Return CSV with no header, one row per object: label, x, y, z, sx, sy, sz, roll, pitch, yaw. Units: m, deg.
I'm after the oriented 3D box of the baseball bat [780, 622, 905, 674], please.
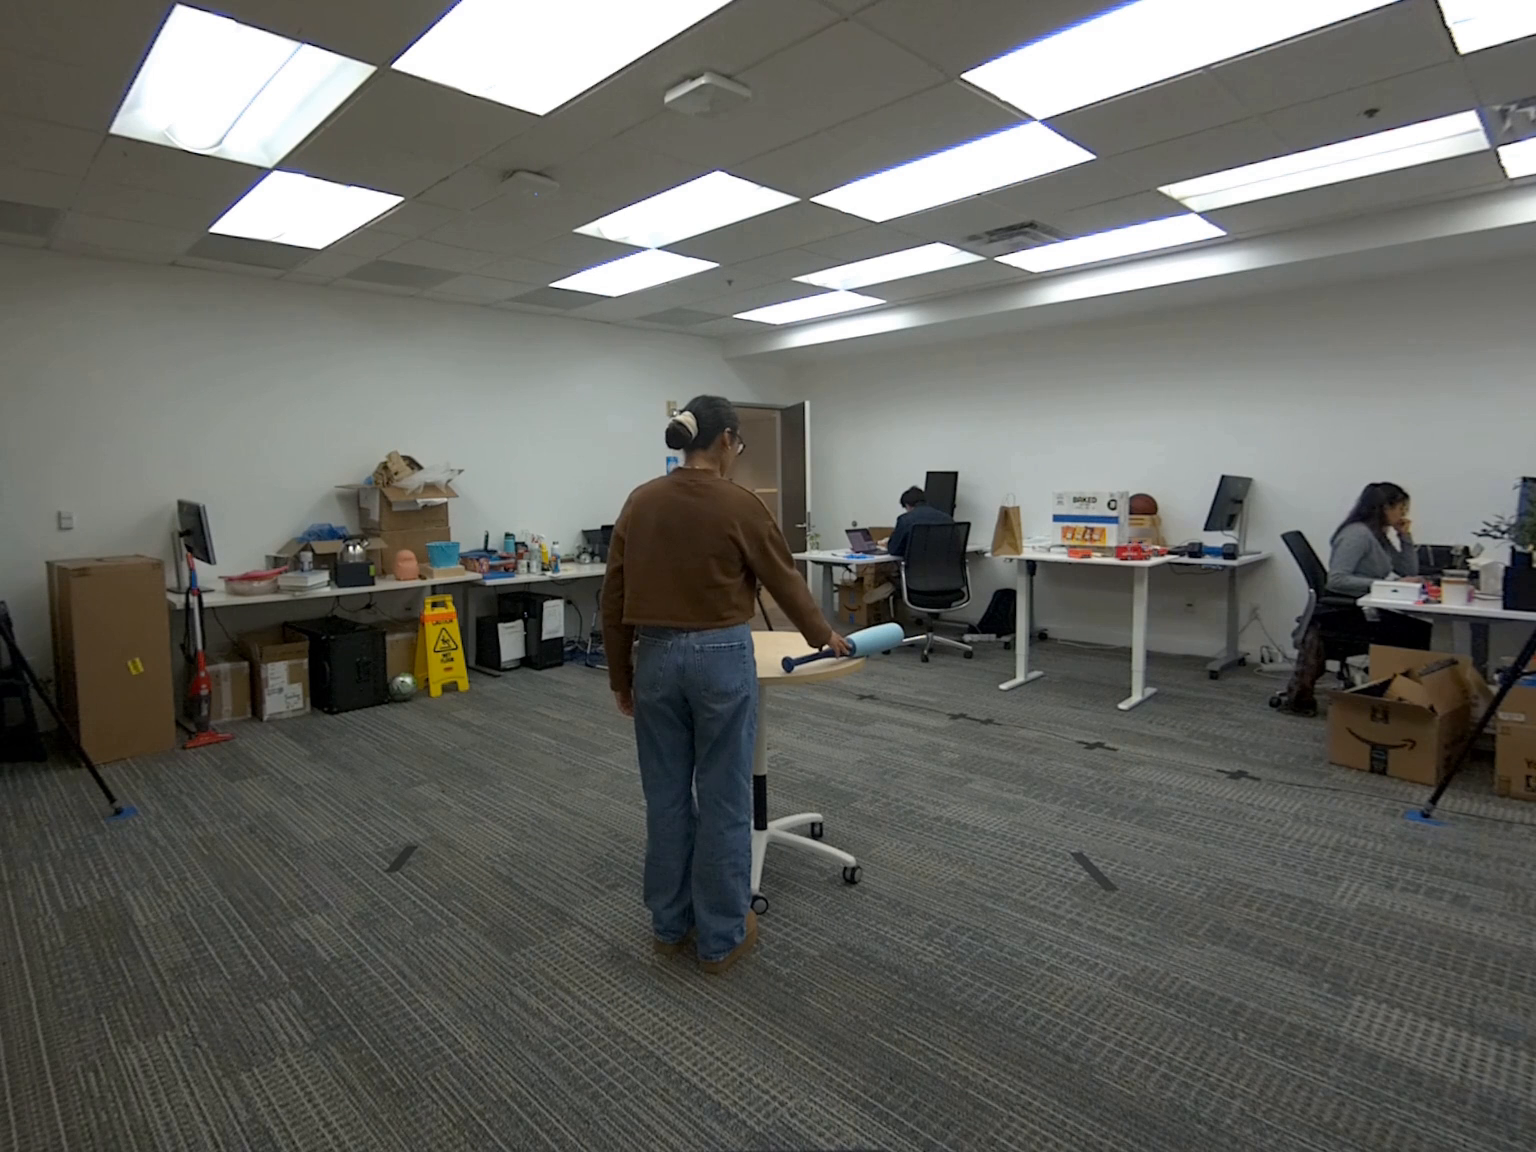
baseball bat,0.259,0.248,2.866,0.530,0.088,0.092,-11,10,-41
